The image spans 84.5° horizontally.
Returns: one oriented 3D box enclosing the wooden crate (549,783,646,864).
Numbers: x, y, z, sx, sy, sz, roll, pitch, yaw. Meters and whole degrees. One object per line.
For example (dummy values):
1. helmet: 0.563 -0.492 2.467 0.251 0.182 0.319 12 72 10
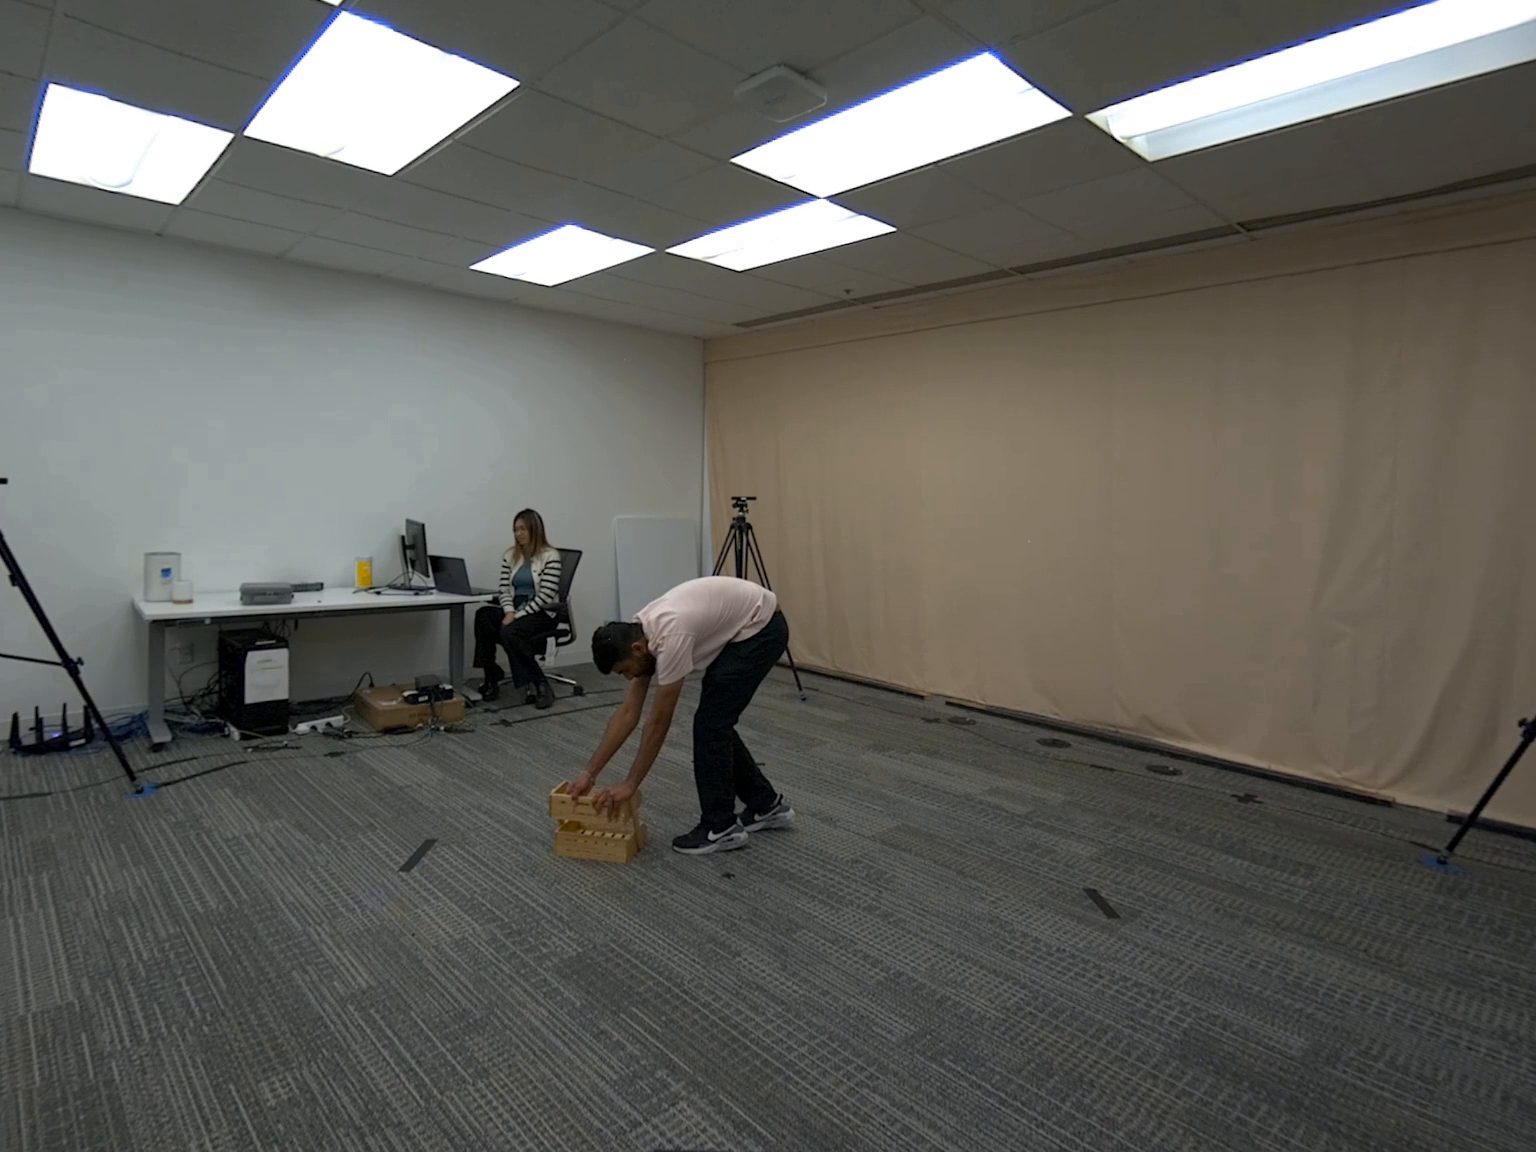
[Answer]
1. wooden crate: -0.670 0.944 3.301 0.327 0.272 0.301 2 6 9
